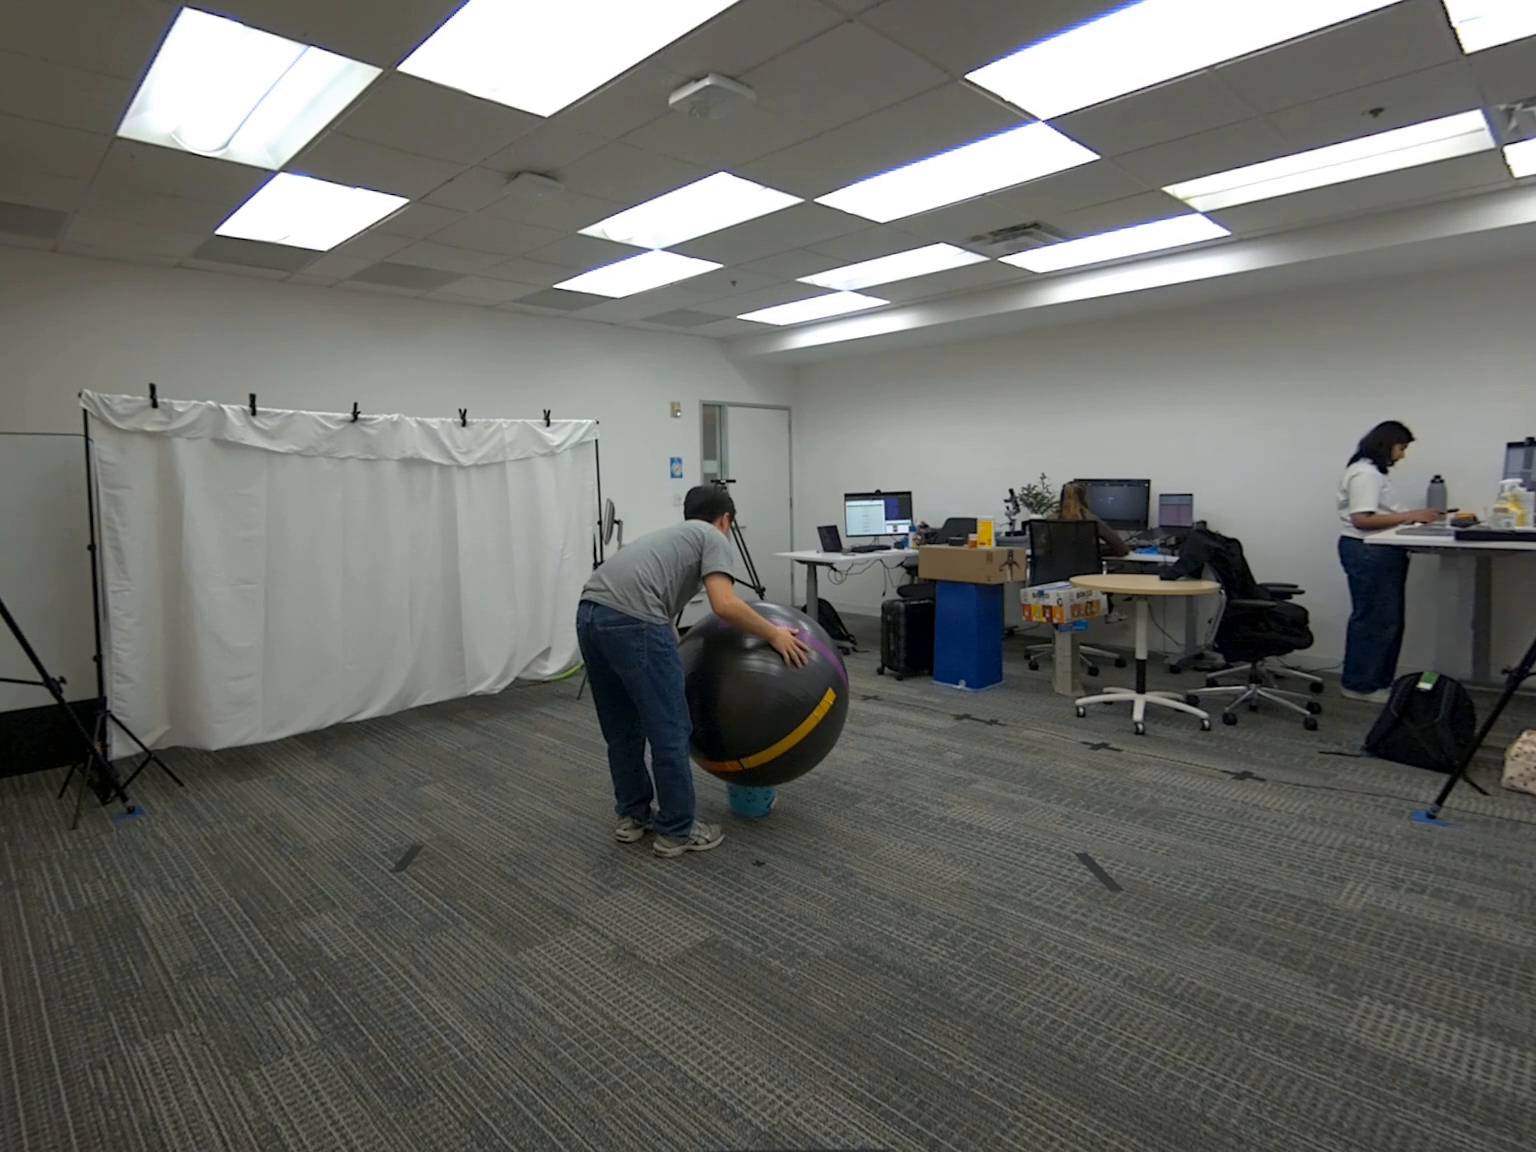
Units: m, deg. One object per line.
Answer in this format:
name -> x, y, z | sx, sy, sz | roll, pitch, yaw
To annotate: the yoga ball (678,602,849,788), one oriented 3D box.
yoga ball -> -0.051, 0.484, 3.541 | 0.757, 0.755, 0.762 | -1, 5, -2
